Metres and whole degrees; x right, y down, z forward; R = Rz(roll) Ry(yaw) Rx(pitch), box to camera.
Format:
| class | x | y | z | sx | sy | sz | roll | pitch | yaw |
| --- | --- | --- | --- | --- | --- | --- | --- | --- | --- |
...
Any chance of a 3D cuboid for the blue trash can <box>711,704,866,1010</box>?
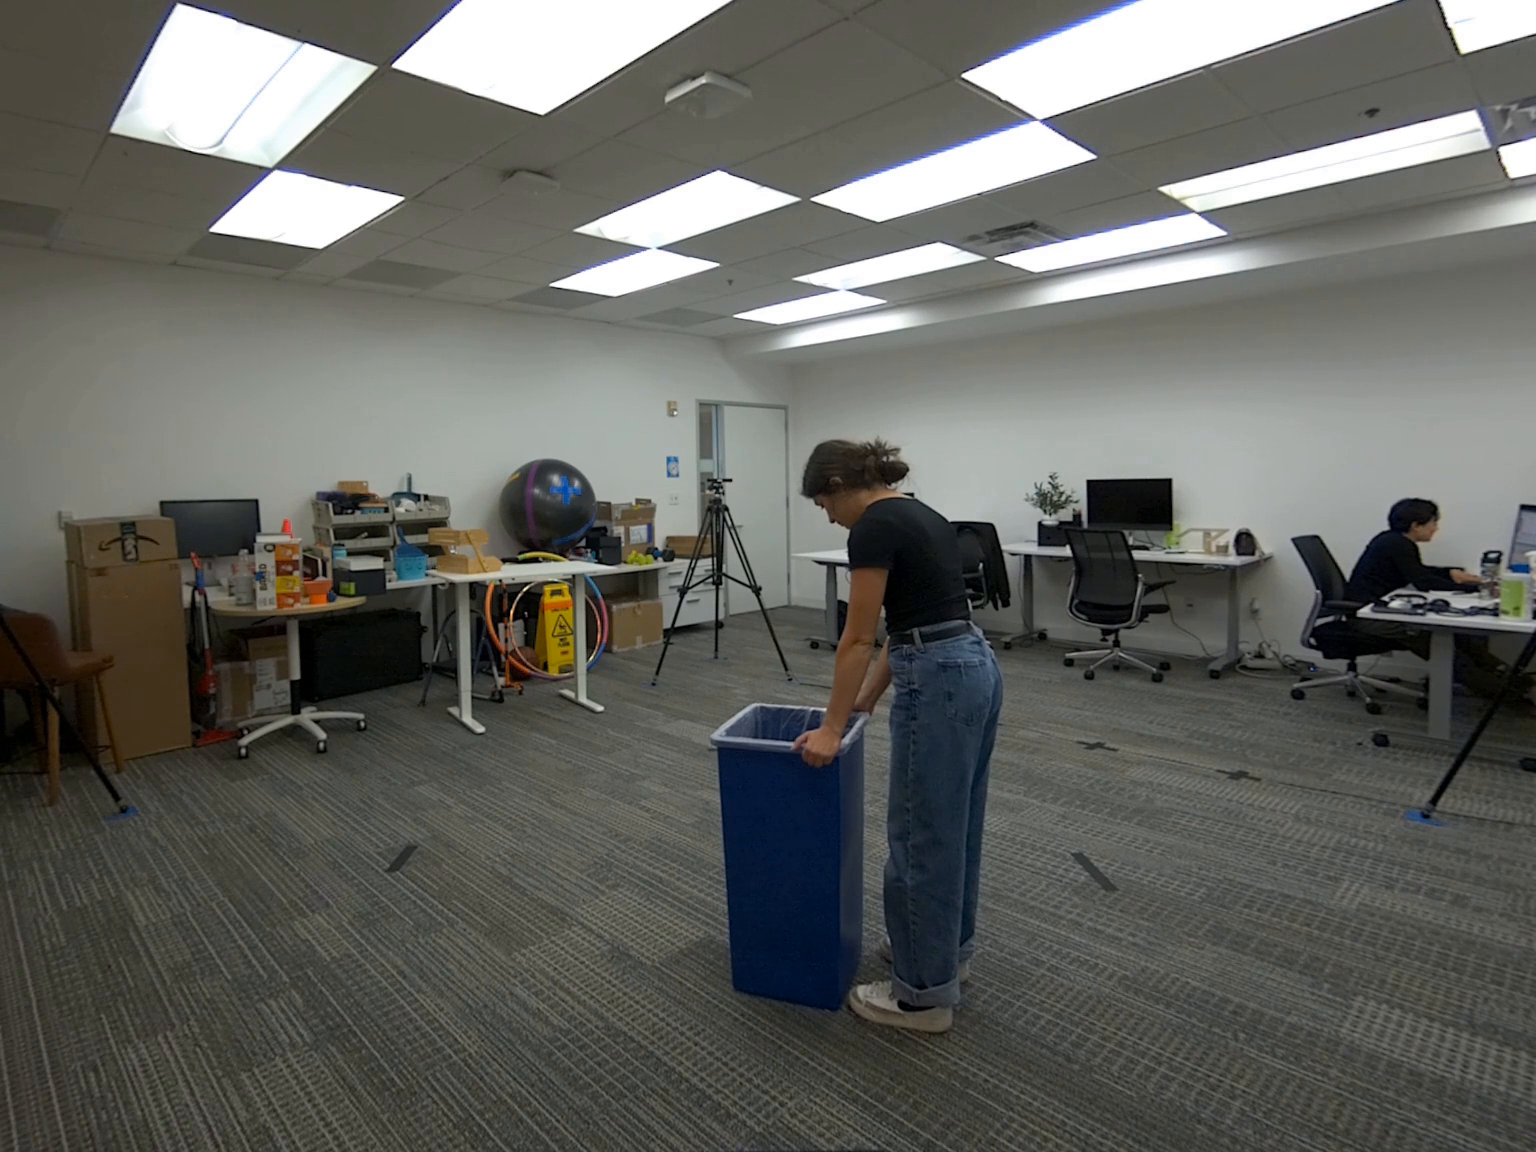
| class | x | y | z | sx | sy | sz | roll | pitch | yaw |
| --- | --- | --- | --- | --- | --- | --- | --- | --- | --- |
| blue trash can | 0.087 | 0.765 | 2.399 | 0.385 | 0.712 | 0.368 | 0 | 3 | 19 |
